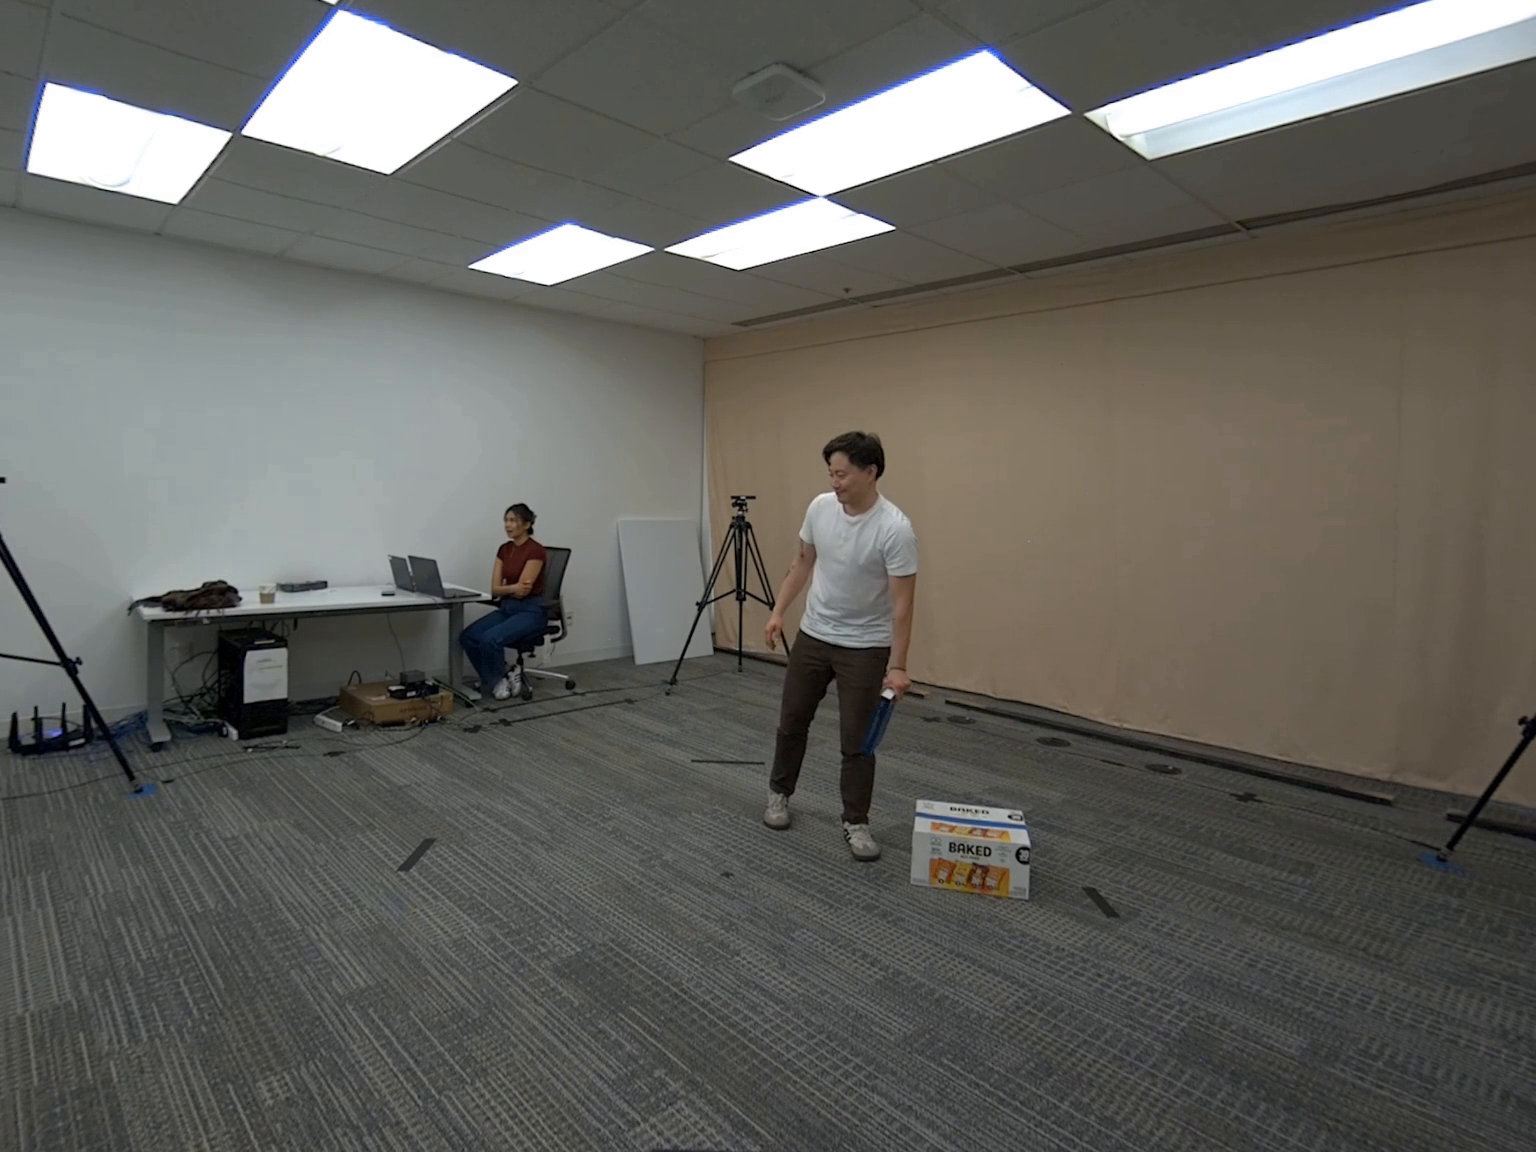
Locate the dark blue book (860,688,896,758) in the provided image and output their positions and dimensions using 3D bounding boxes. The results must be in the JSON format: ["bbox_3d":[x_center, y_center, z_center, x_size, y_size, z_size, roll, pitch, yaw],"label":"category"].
[{"bbox_3d":[0.416,0.530,3.118,0.046,0.243,0.162,20,19,19],"label":"dark blue book"}]
